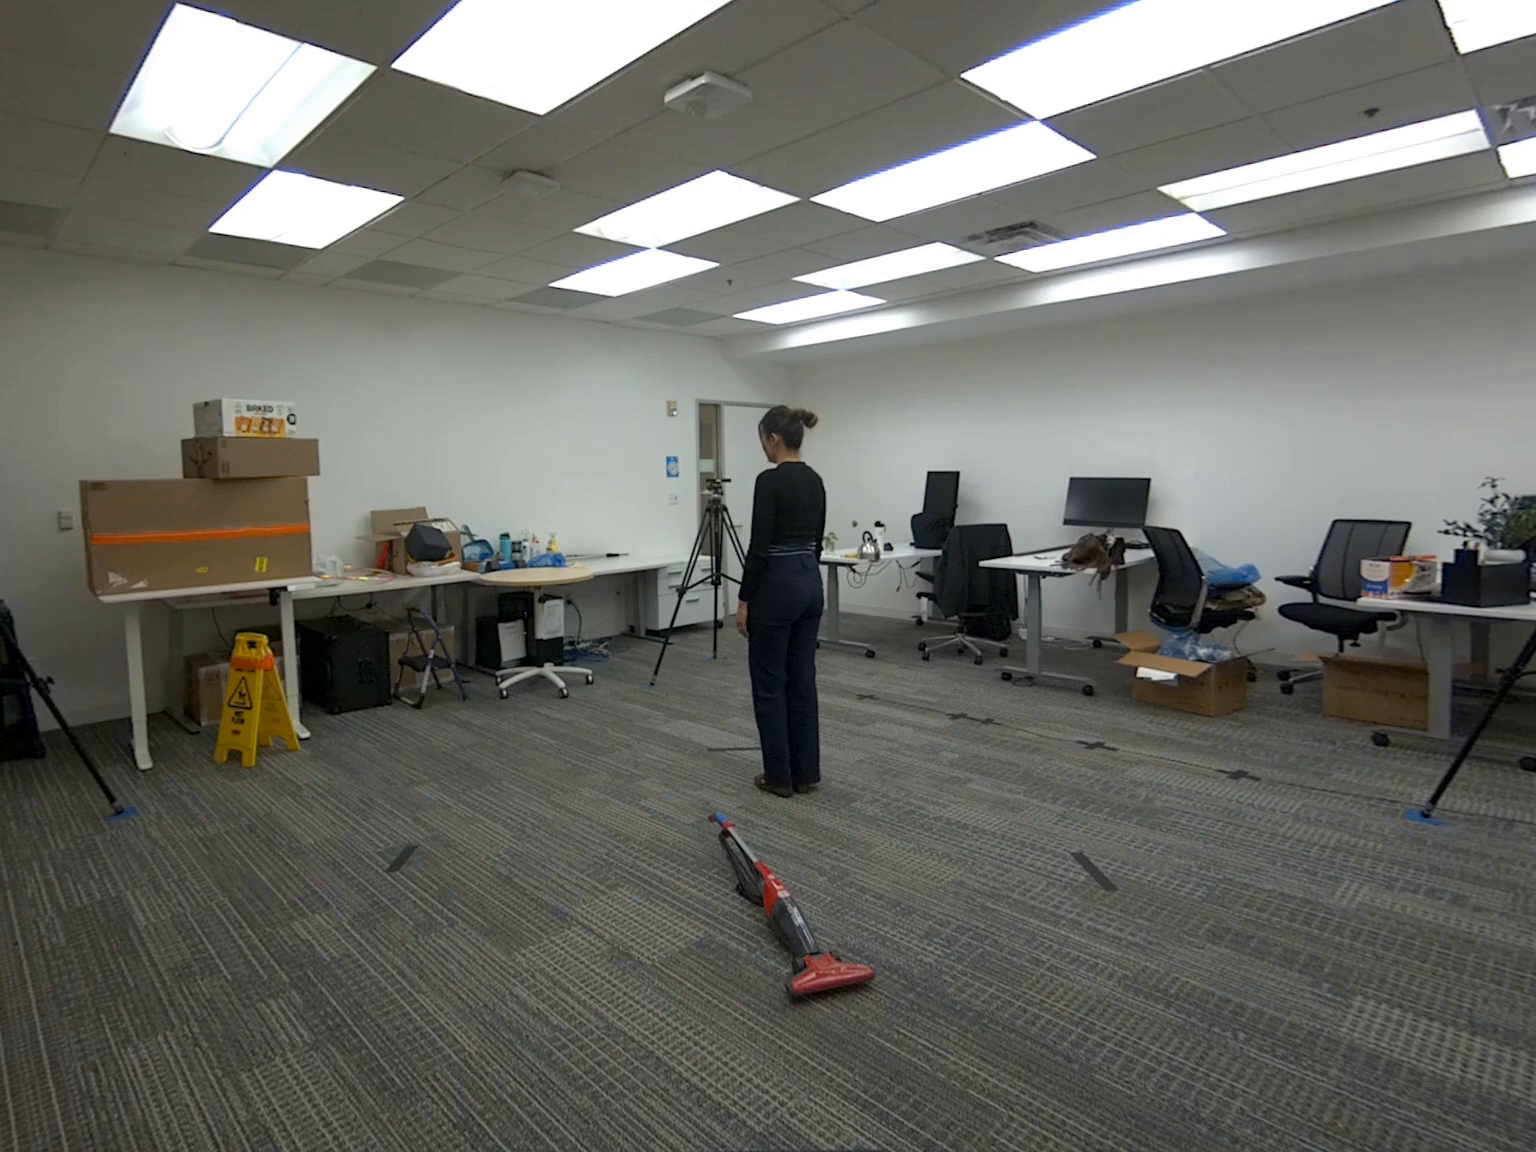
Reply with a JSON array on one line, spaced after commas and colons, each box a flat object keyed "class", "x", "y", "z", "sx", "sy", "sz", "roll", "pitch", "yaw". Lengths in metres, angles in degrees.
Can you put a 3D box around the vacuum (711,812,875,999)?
[{"class": "vacuum", "x": -0.017, "y": 1.008, "z": 2.853, "sx": 0.248, "sy": 0.143, "sz": 1.072, "roll": 2, "pitch": 5, "yaw": -20}]
